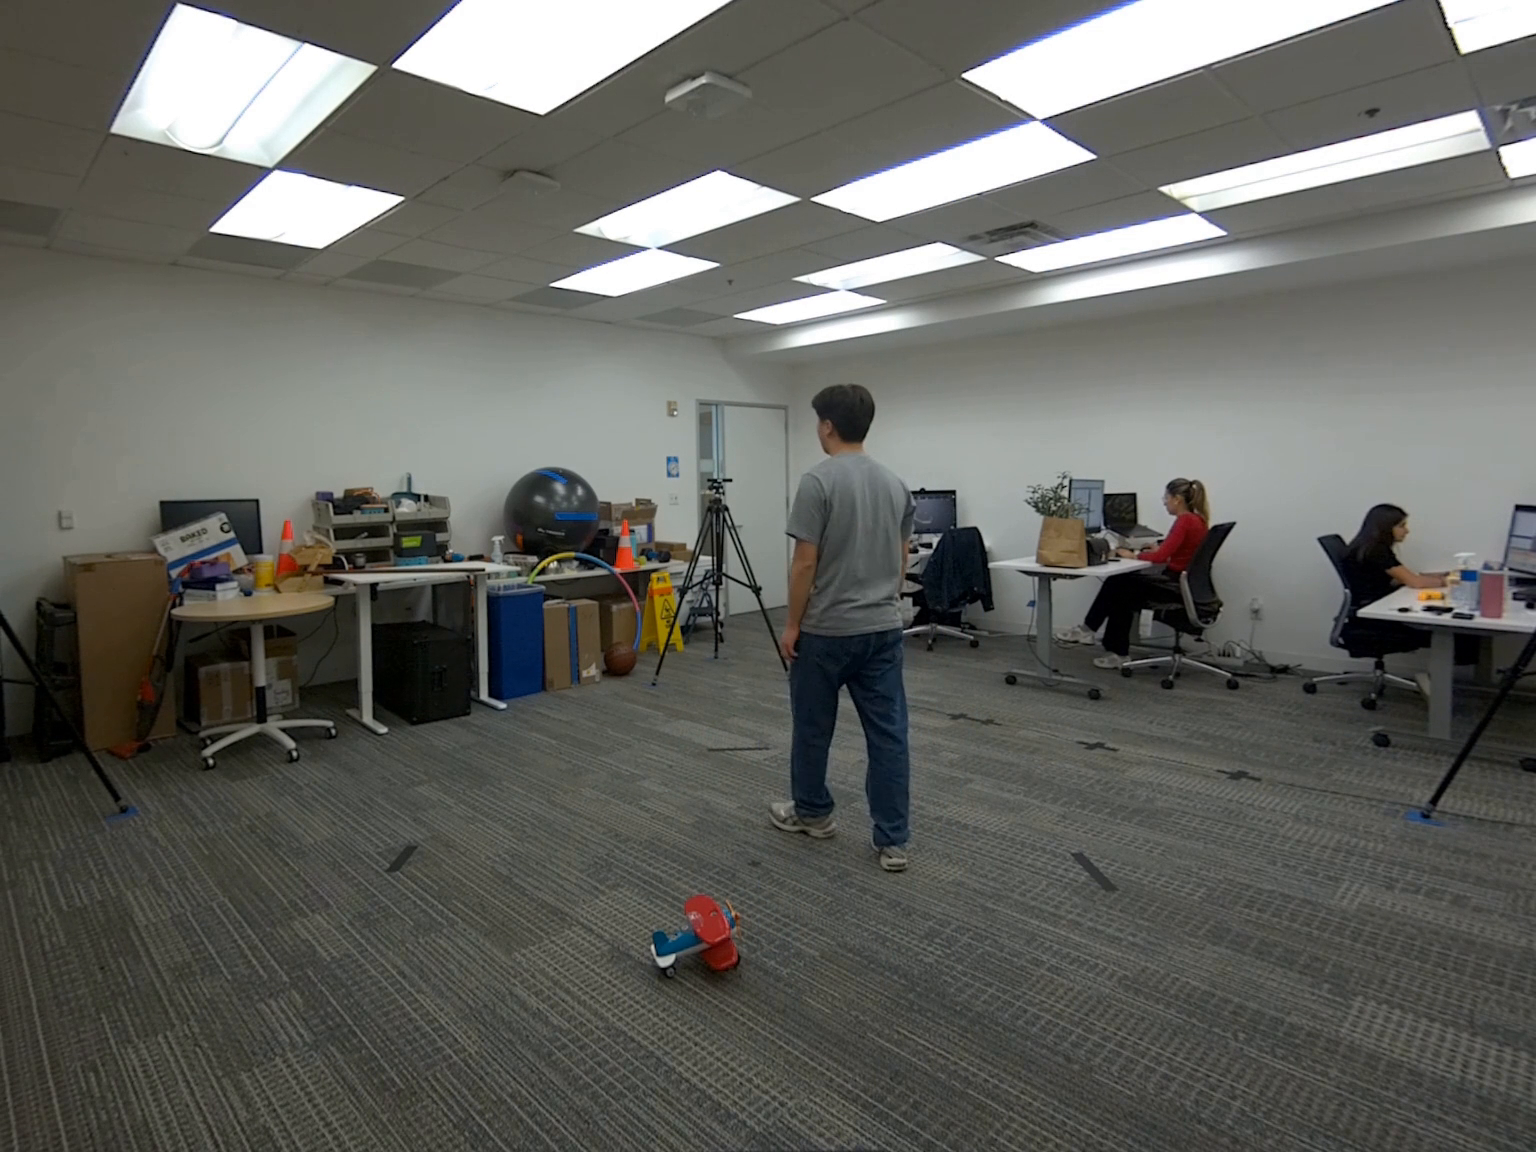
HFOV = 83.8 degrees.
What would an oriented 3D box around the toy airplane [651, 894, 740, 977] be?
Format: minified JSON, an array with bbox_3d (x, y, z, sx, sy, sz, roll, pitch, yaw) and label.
[{"bbox_3d":[-0.191,1.057,2.437,0.259,0.156,0.252,4,7,41],"label":"toy airplane"}]
